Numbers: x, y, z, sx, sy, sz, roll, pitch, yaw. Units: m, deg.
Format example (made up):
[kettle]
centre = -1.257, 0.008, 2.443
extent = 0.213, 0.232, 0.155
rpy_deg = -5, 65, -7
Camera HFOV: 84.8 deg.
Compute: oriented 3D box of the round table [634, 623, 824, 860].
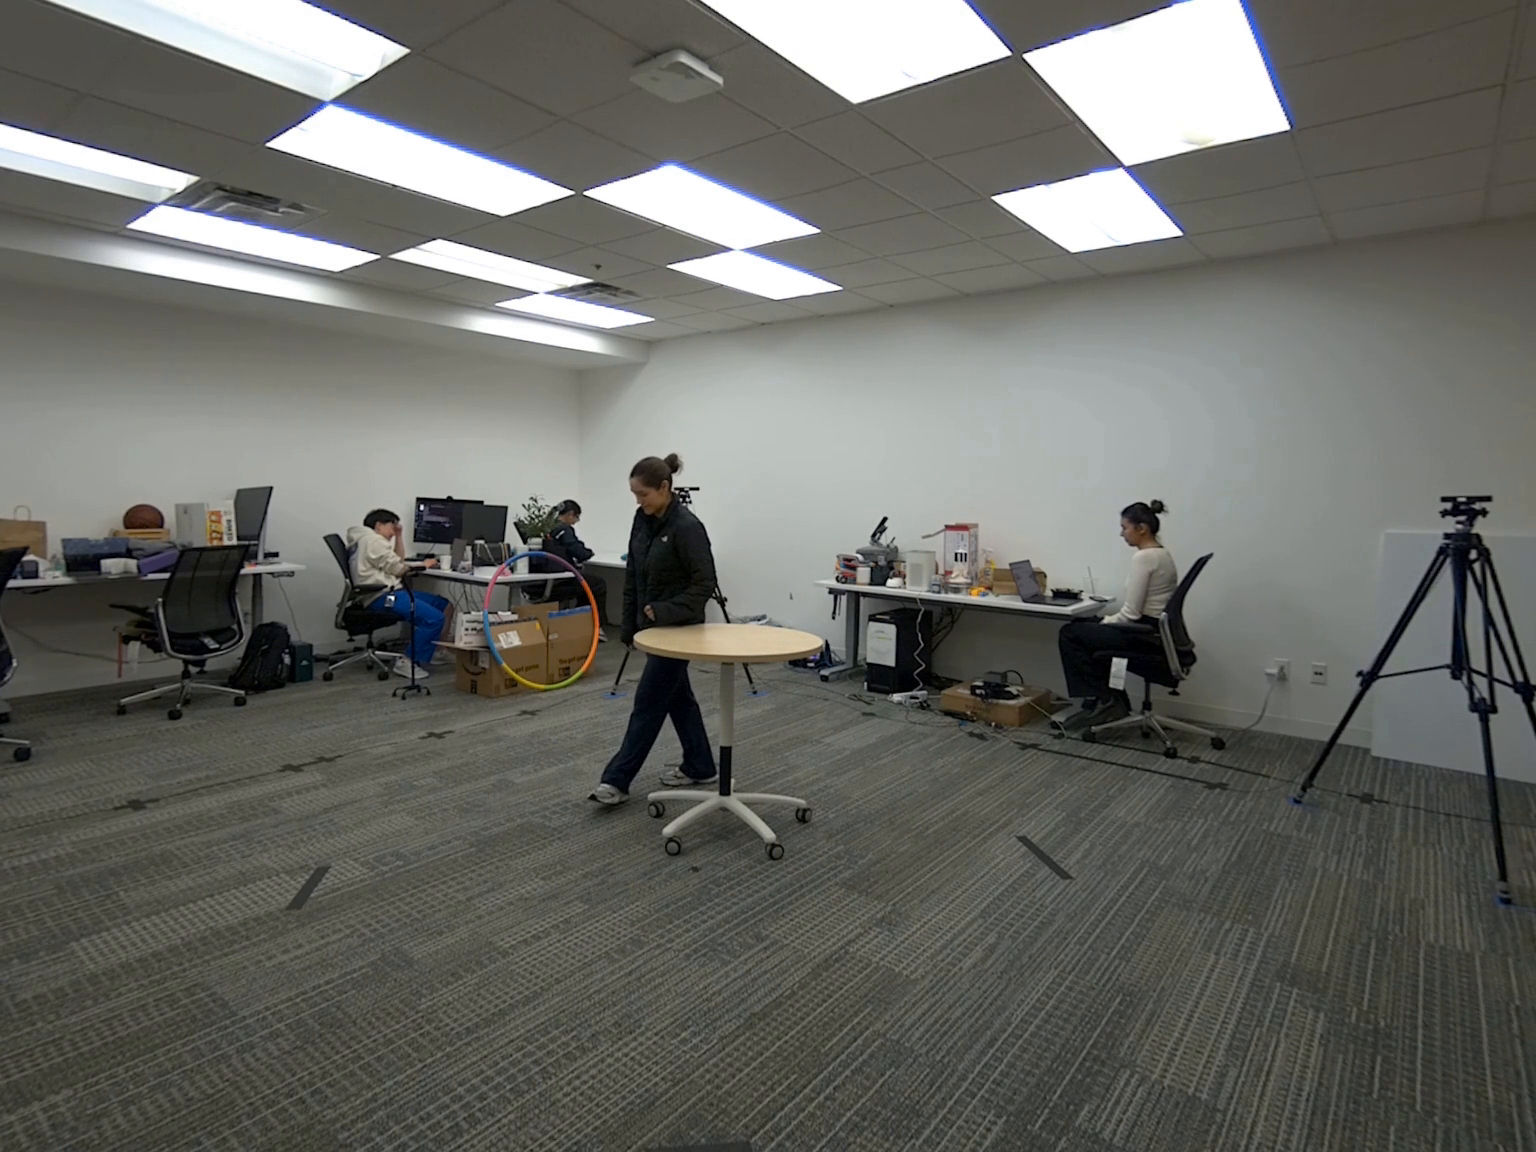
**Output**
[round table]
centre = -0.165, 0.635, 3.469
extent = 0.784, 0.784, 0.788
rpy_deg = 1, 4, -2
